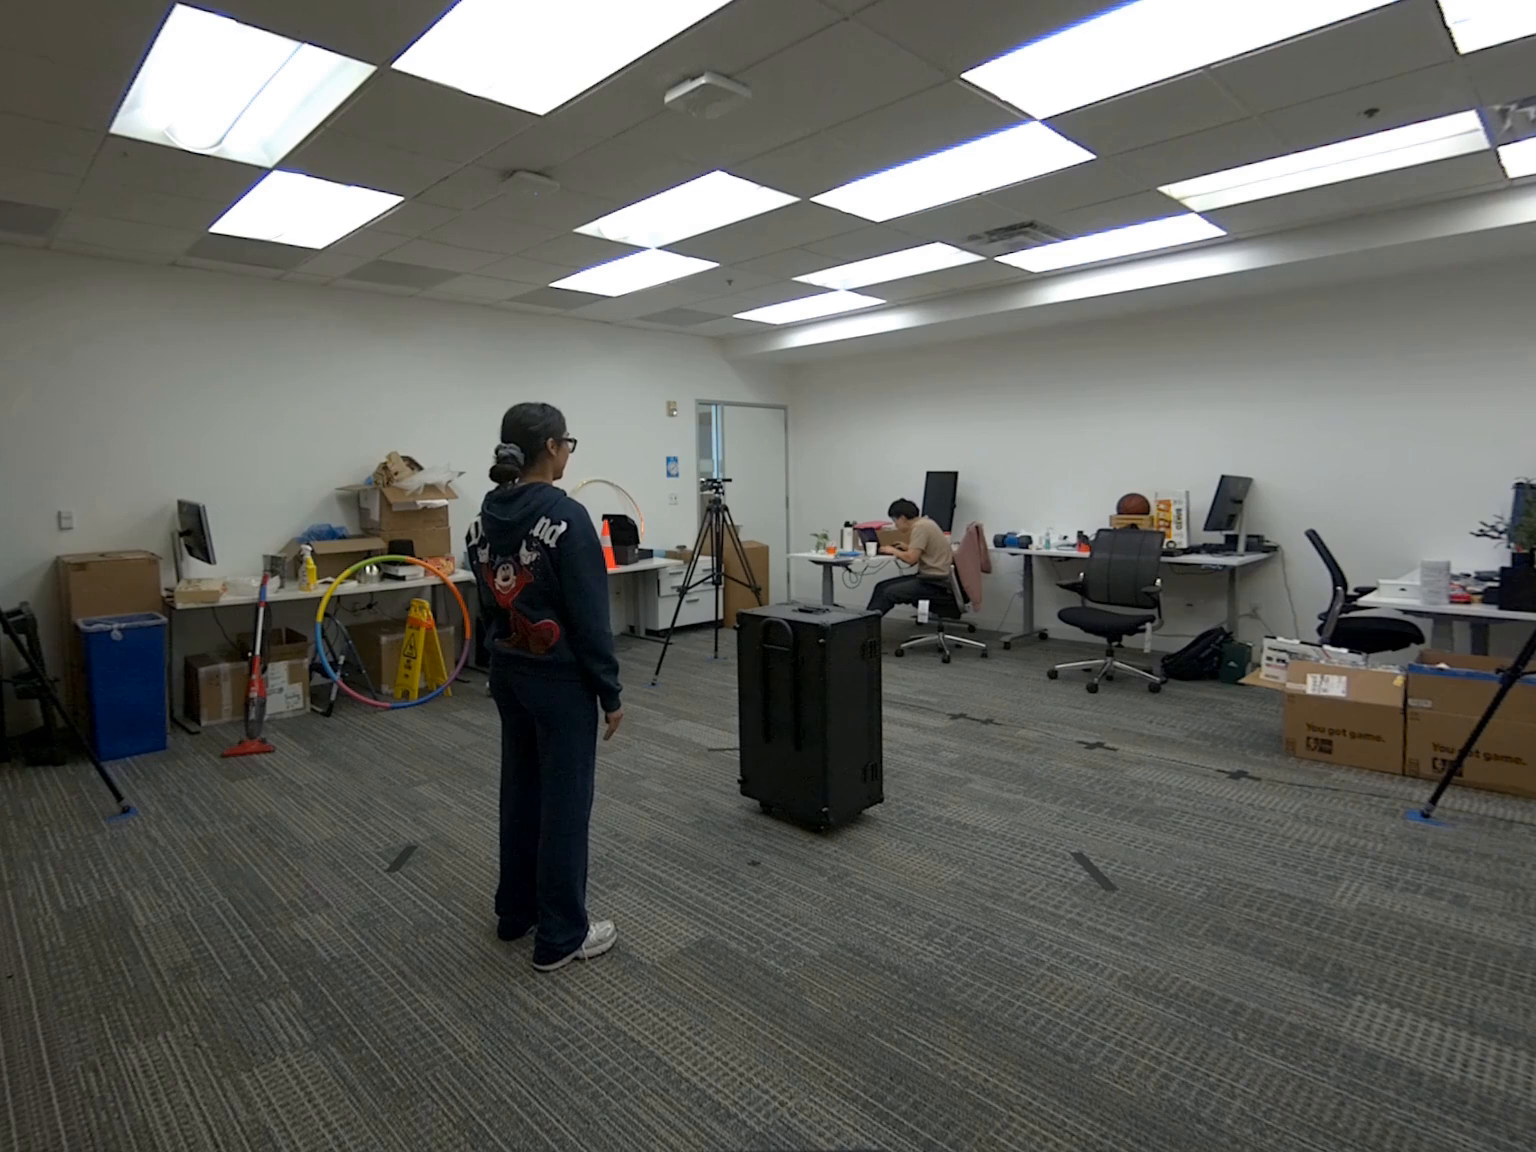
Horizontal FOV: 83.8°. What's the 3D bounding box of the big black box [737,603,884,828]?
[{"bbox_3d":[0.170,0.573,3.509,0.386,0.857,0.537,-7,8,-44],"label":"big black box"}]
